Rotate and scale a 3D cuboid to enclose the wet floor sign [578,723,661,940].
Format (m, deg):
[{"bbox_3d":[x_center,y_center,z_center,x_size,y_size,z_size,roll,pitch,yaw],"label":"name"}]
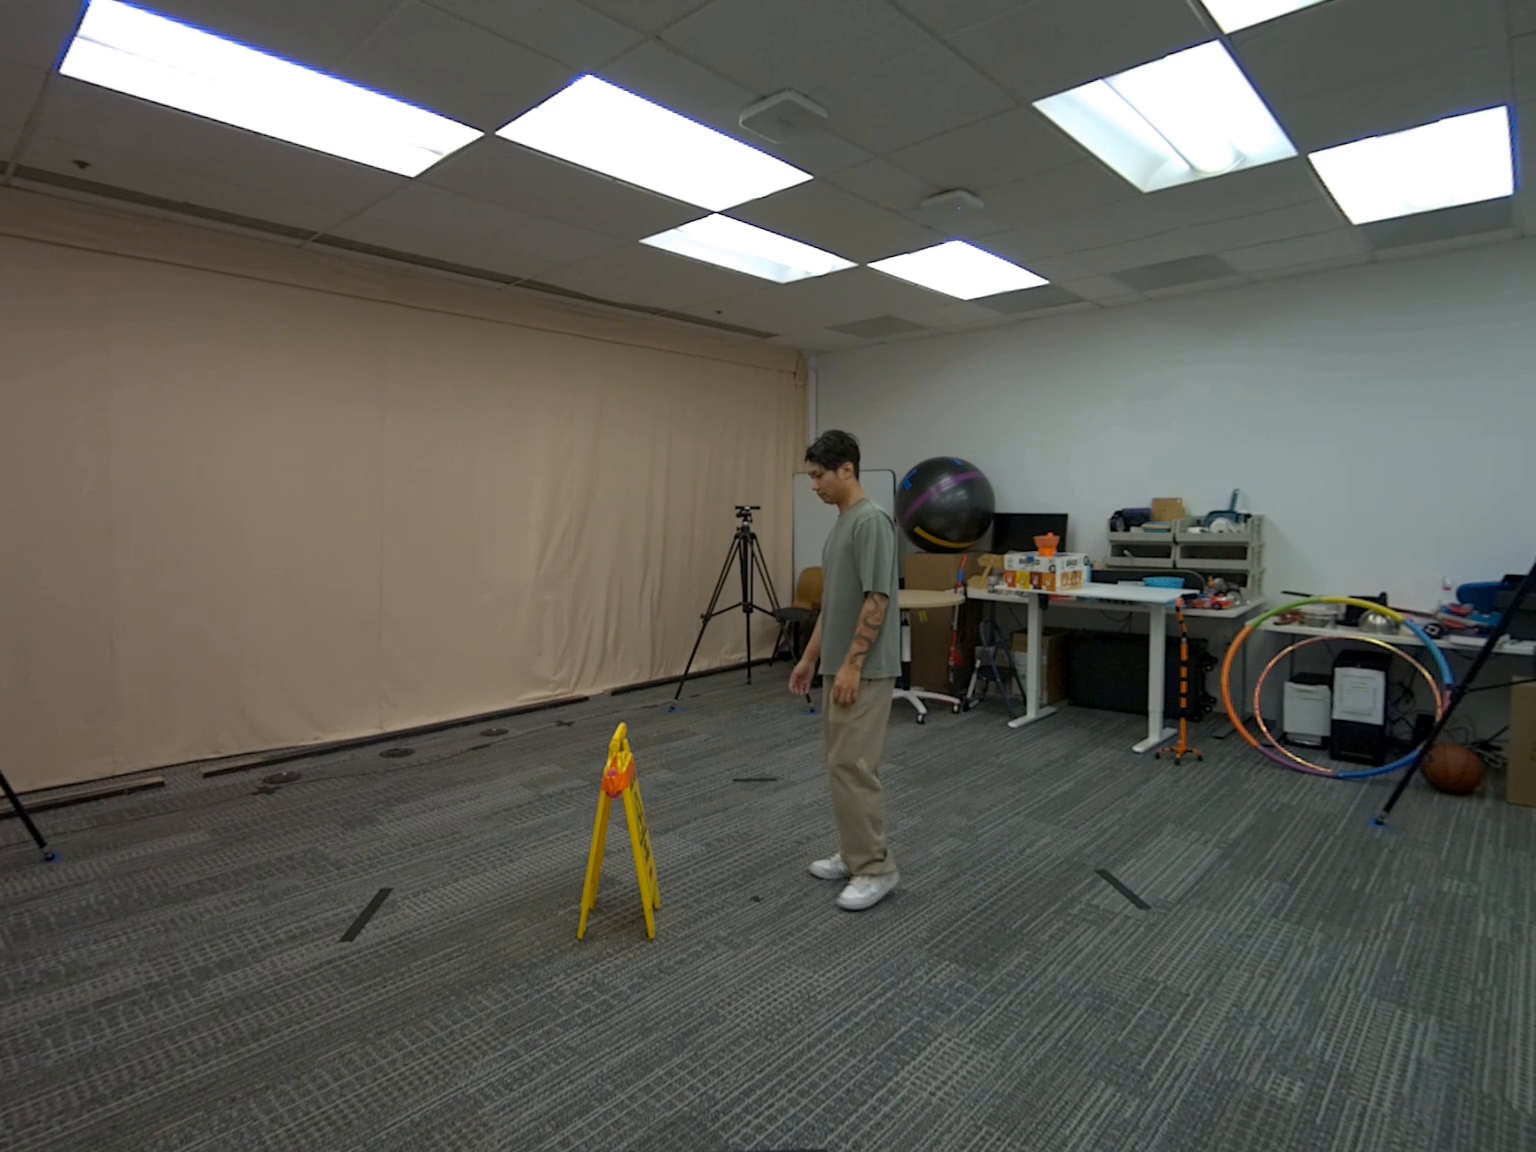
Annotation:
[{"bbox_3d":[-0.494,0.832,2.822,0.290,0.644,0.283,1,4,-1],"label":"wet floor sign"}]
